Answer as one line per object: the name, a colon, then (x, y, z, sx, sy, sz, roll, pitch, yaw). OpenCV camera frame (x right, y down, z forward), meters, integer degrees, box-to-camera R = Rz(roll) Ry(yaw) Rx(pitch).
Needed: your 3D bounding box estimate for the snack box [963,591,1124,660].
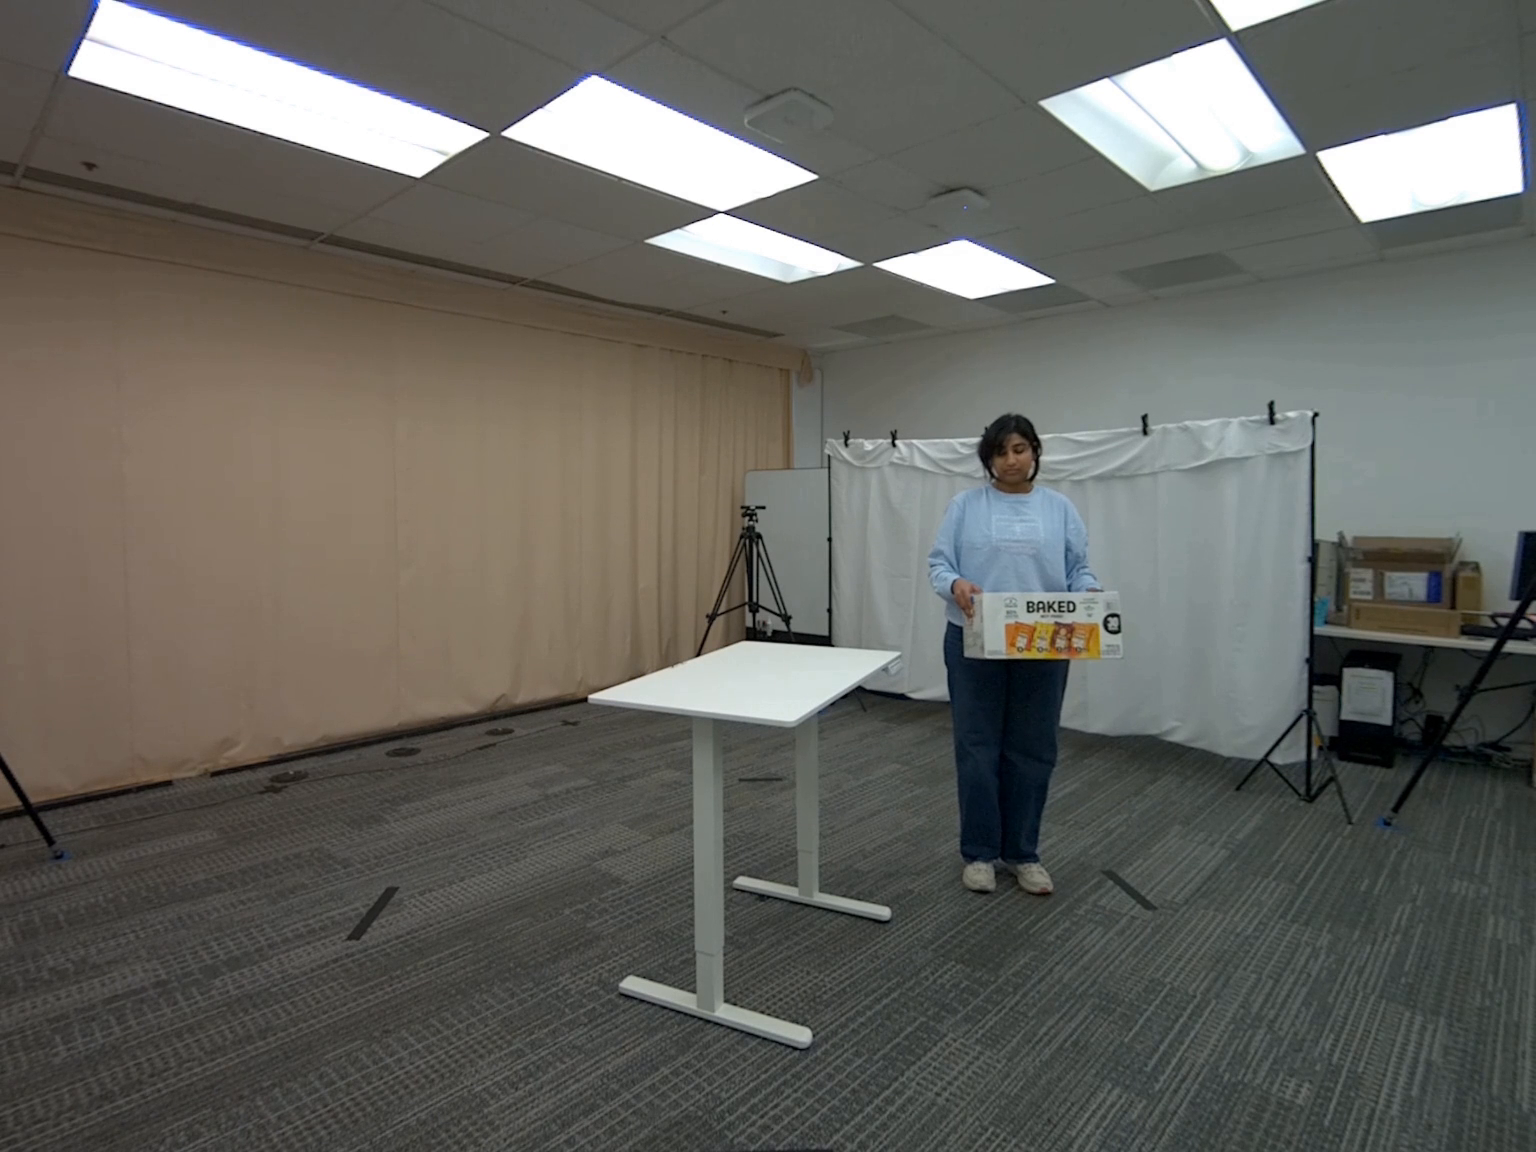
snack box: (0.871, 0.172, 2.722, 0.407, 0.206, 0.338, 1, -5, 3)
